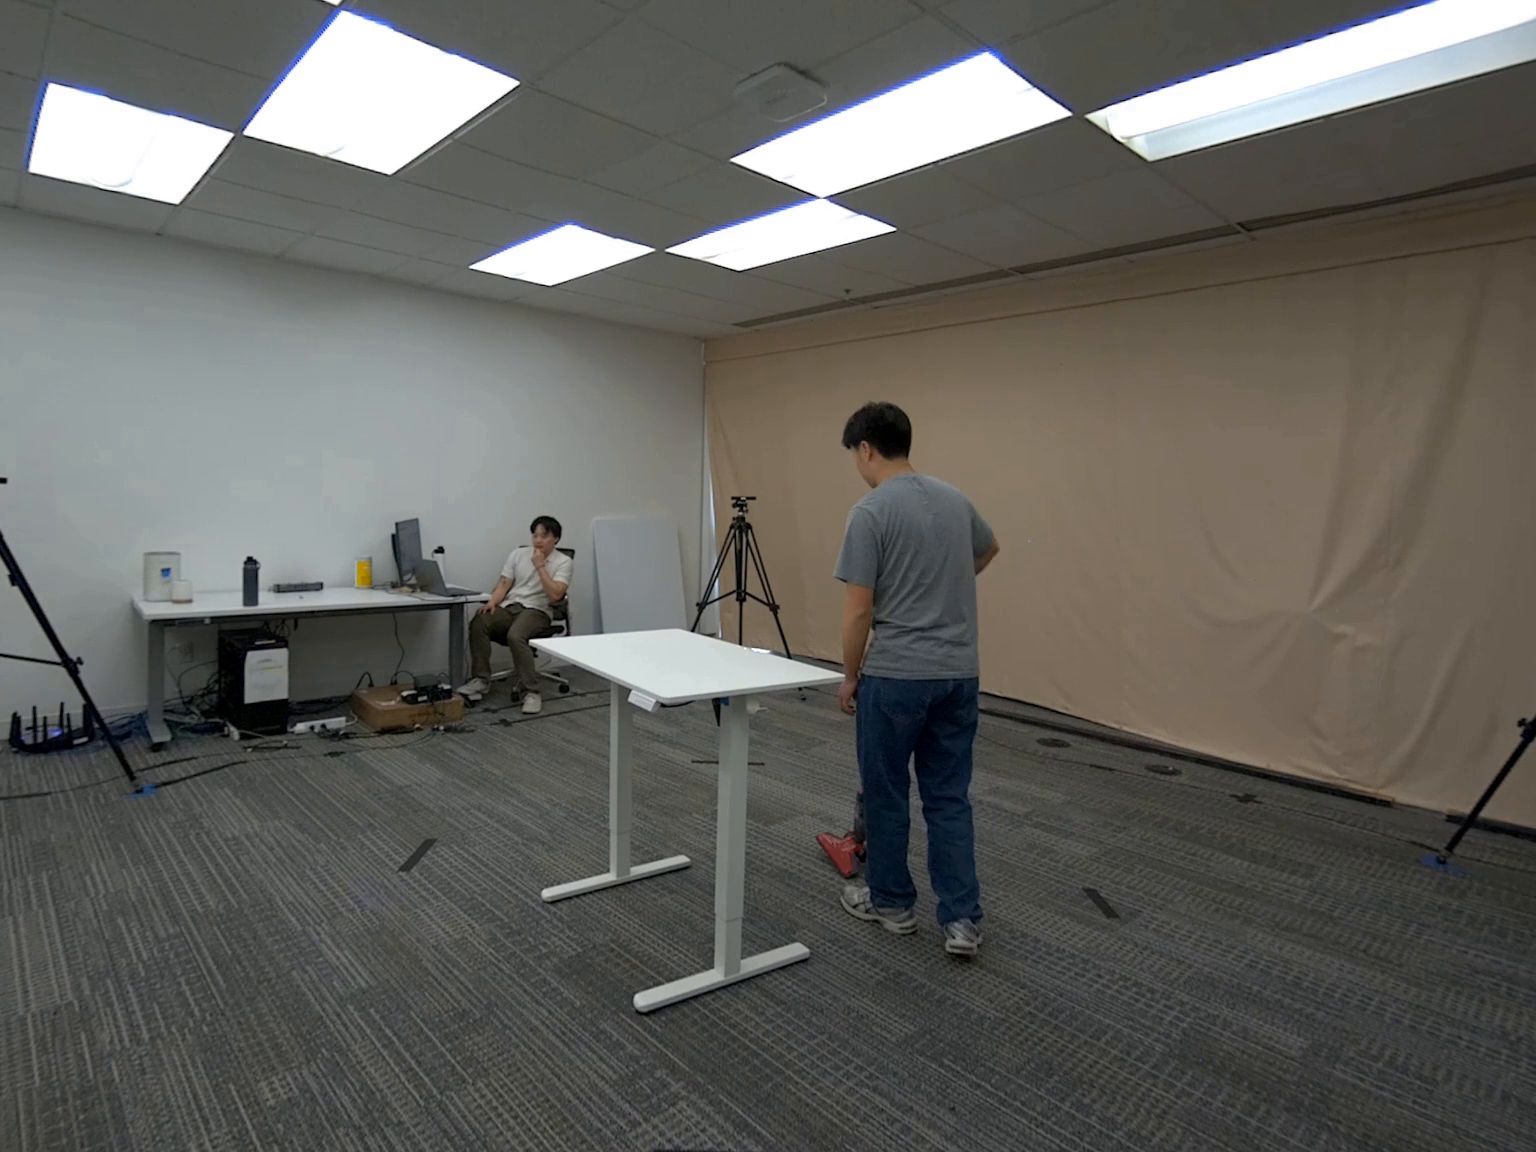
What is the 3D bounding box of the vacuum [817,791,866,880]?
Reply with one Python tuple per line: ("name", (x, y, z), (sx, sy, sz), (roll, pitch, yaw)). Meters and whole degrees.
("vacuum", (0.456, 0.603, 3.122), (0.140, 1.044, 0.260), (12, 12, -32))
